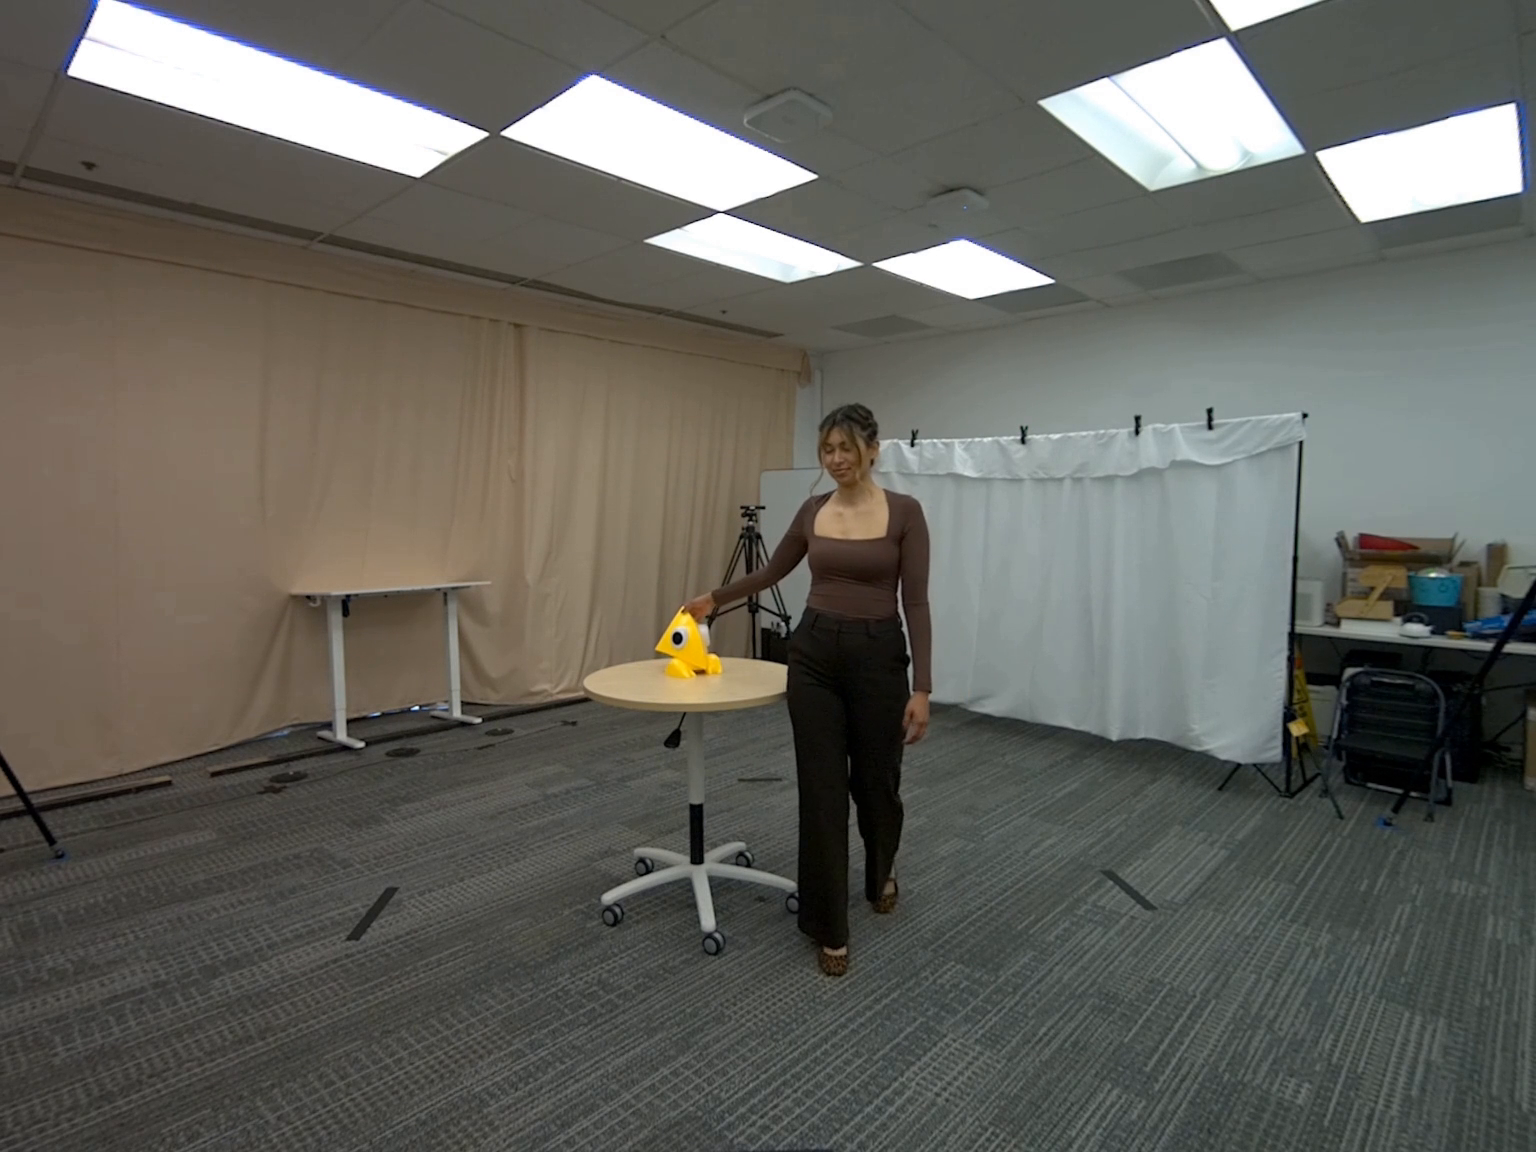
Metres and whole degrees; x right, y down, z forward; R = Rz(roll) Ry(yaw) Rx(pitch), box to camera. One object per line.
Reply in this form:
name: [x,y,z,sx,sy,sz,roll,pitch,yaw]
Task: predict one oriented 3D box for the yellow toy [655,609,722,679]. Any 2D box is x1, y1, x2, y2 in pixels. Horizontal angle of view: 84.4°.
yellow toy: [-0.269,0.233,3.021,0.199,0.230,0.199,-3,5,-32]
